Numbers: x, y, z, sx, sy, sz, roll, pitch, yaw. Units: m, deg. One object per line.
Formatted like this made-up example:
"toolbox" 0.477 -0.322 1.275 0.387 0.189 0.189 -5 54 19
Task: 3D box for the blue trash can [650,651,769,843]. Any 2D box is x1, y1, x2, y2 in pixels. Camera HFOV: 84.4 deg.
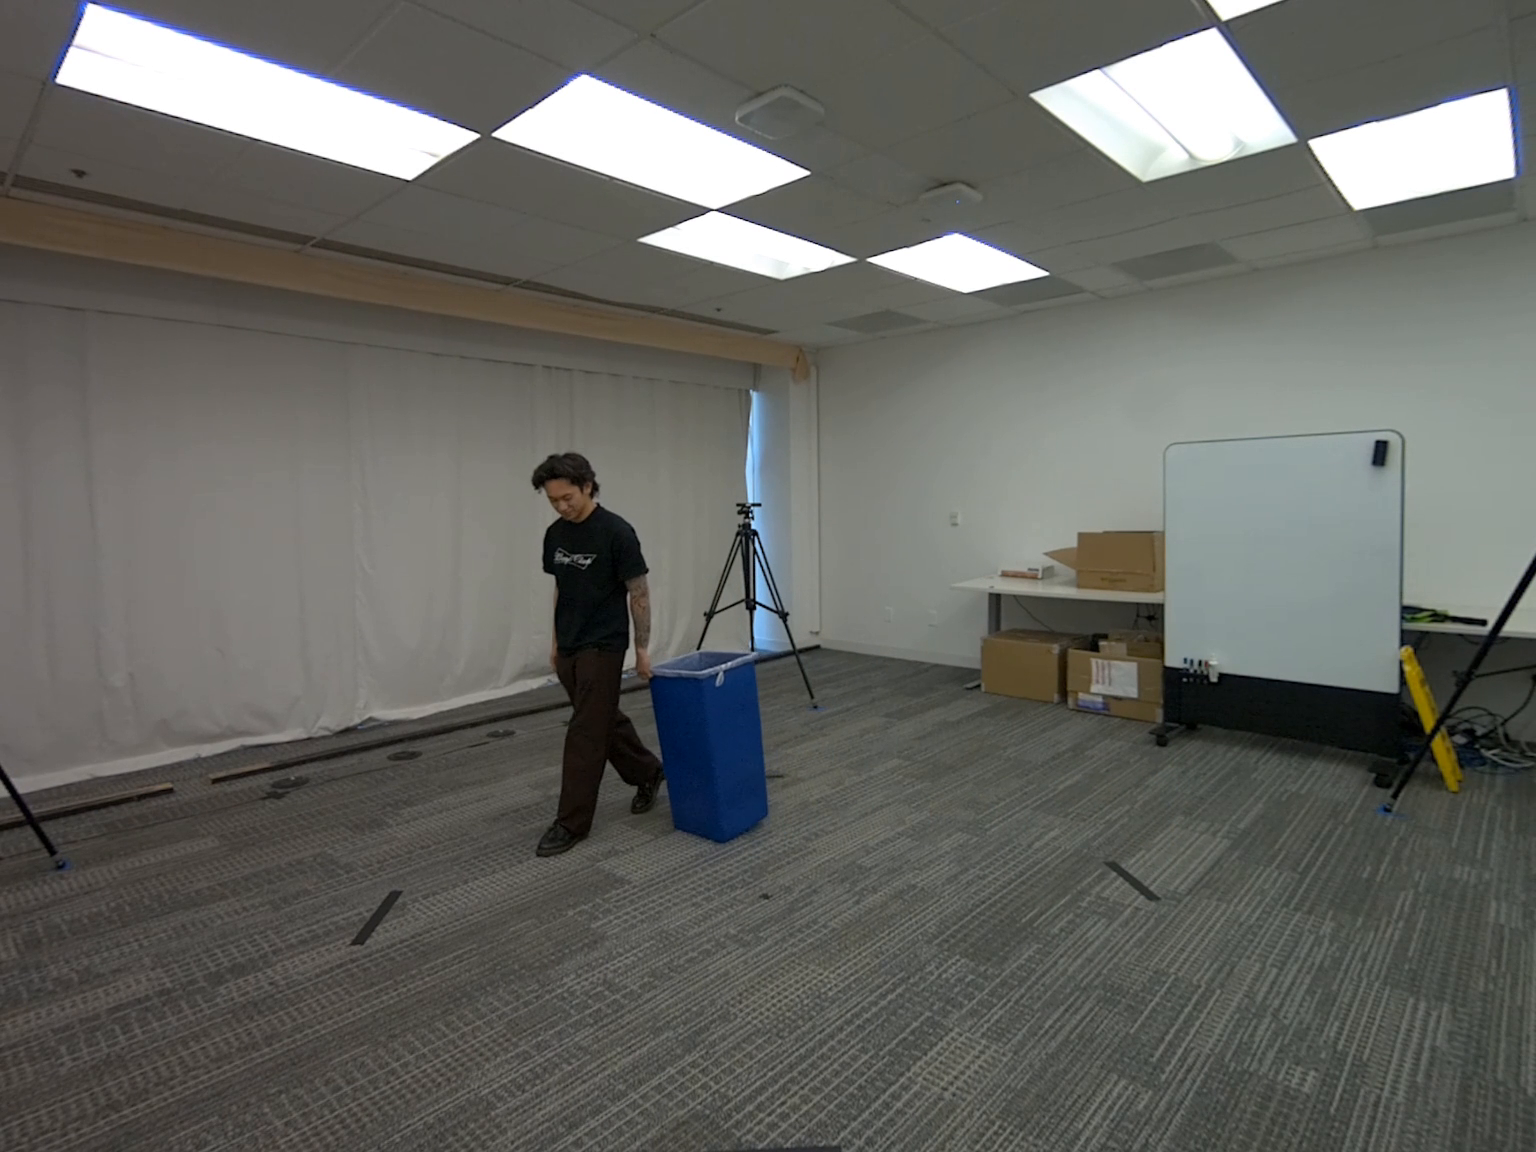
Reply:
"blue trash can" -0.253 0.714 3.615 0.386 0.711 0.368 -2 6 41
